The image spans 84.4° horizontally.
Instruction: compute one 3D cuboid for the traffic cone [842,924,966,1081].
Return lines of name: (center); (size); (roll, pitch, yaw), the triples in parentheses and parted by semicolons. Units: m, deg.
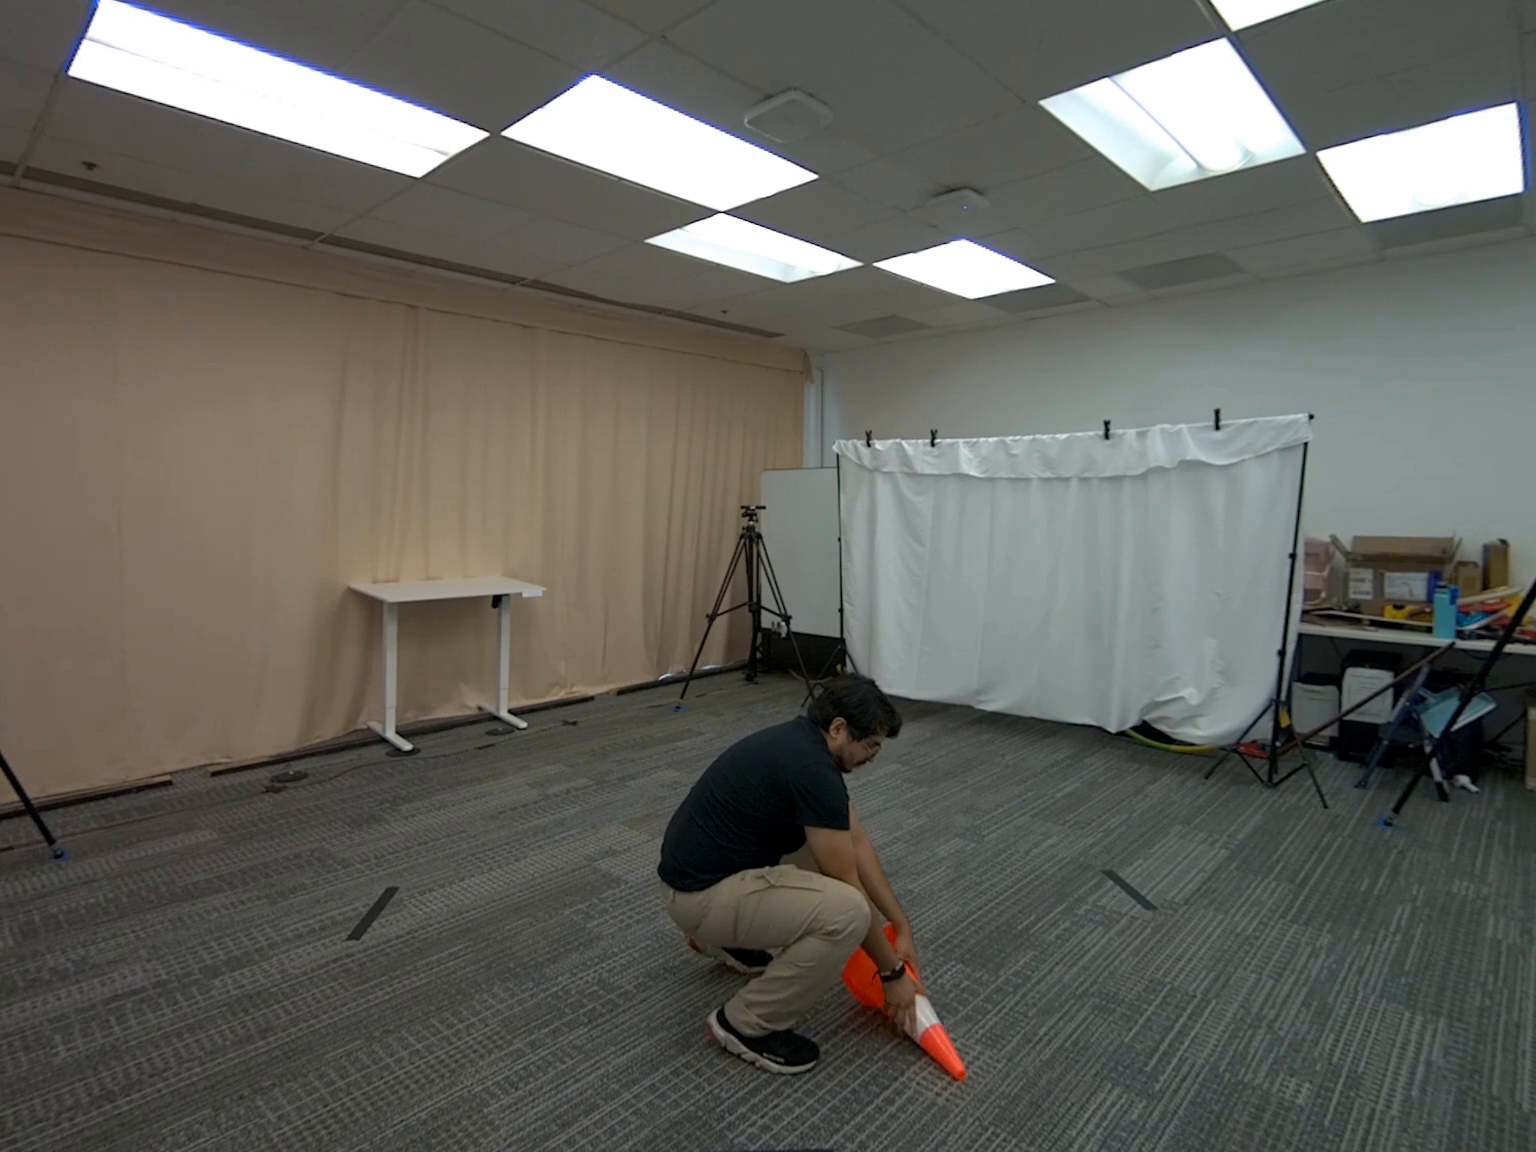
traffic cone: (0.389, 1.156, 2.184); (0.199, 0.203, 0.395); (48, -7, -29)
